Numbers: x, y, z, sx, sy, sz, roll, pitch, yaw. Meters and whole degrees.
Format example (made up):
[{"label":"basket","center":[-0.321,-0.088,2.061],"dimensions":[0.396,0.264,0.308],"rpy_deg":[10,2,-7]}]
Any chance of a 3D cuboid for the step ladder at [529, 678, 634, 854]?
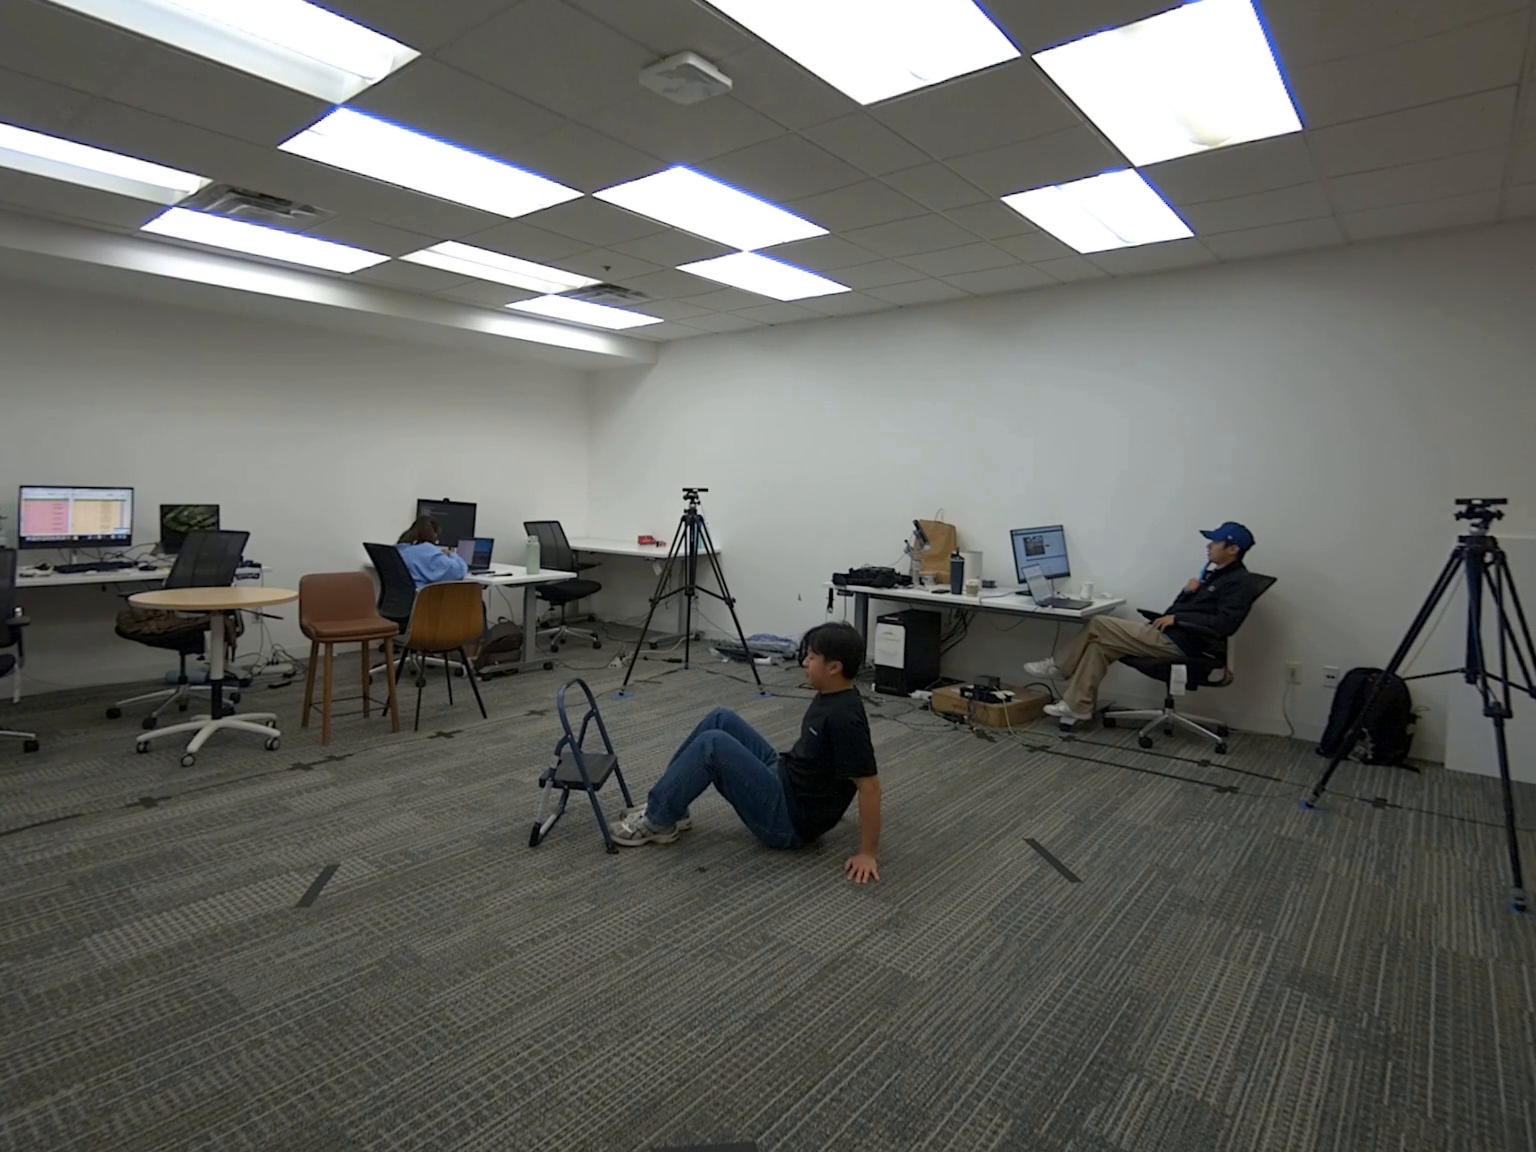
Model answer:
[{"label":"step ladder","center":[-0.750,0.726,3.444],"dimensions":[0.351,0.604,0.430],"rpy_deg":[2,3,3]}]
